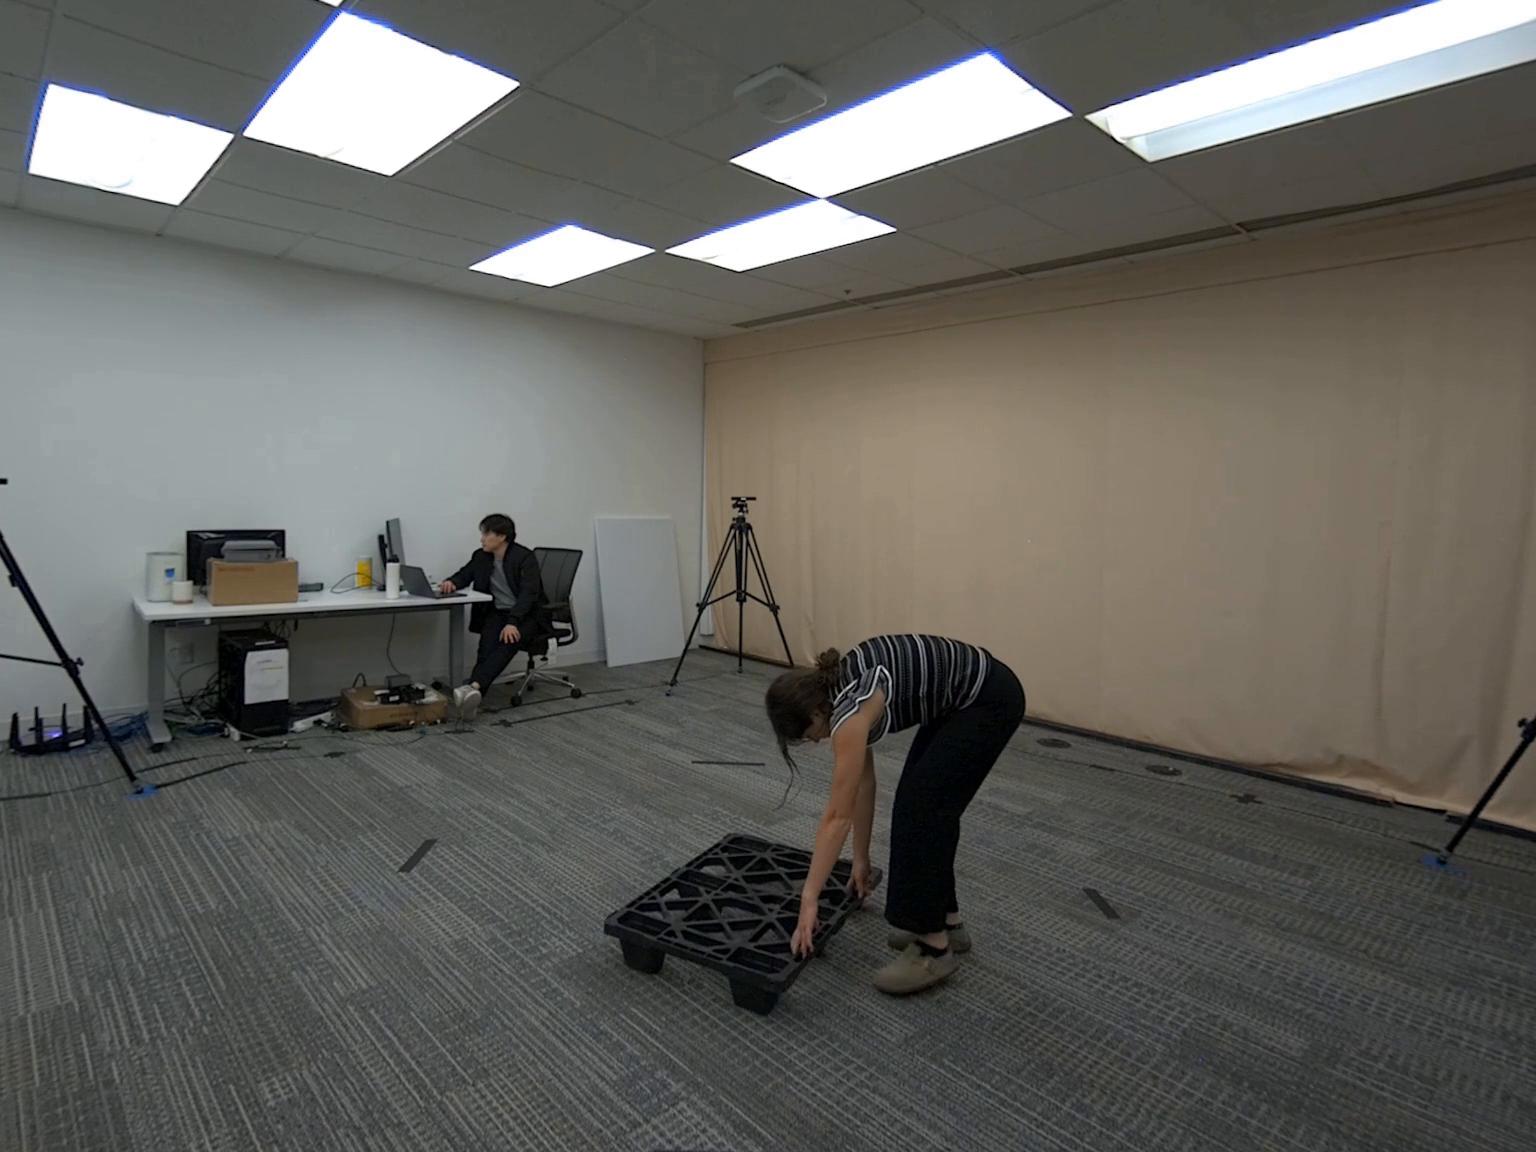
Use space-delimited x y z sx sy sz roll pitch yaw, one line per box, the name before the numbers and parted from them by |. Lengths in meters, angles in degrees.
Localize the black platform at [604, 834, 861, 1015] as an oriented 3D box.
black platform | -0.062 1.077 2.691 0.618 0.143 0.791 3 5 27
